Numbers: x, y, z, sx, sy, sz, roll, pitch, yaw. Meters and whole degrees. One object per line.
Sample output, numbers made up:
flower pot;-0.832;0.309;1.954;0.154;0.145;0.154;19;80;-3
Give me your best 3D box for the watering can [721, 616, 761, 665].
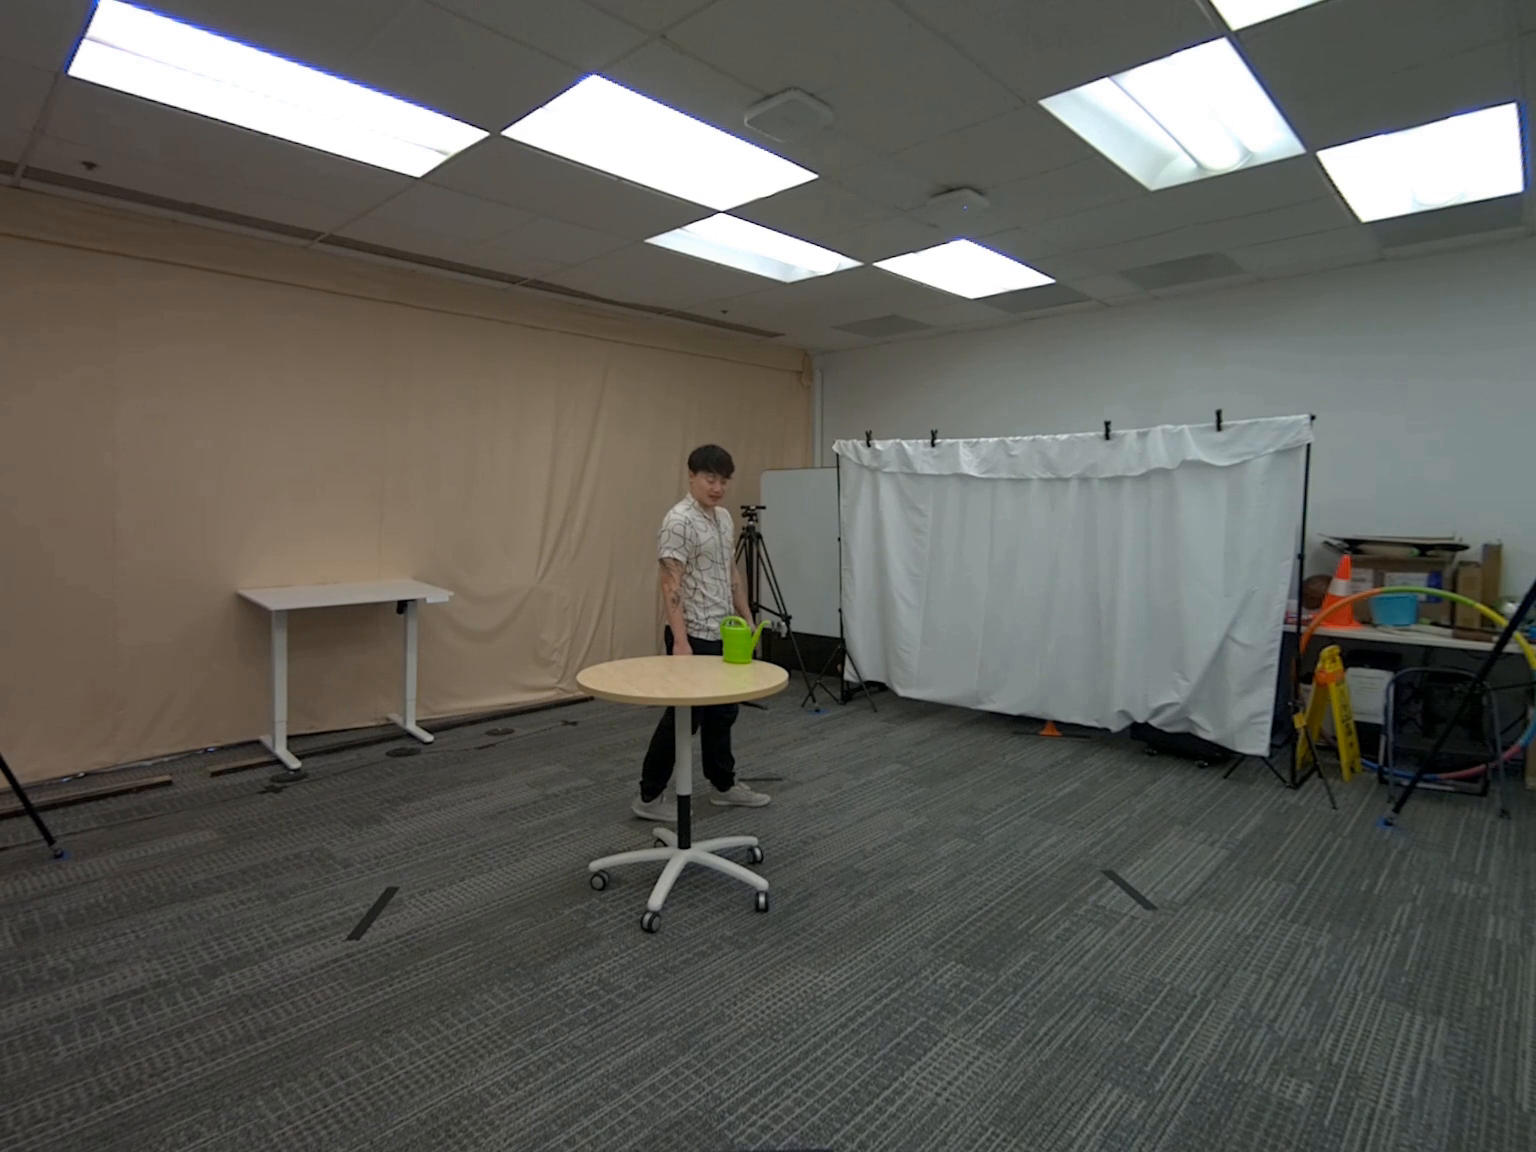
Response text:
watering can;-0.098;0.252;3.255;0.095;0.176;0.286;-4;4;-29
